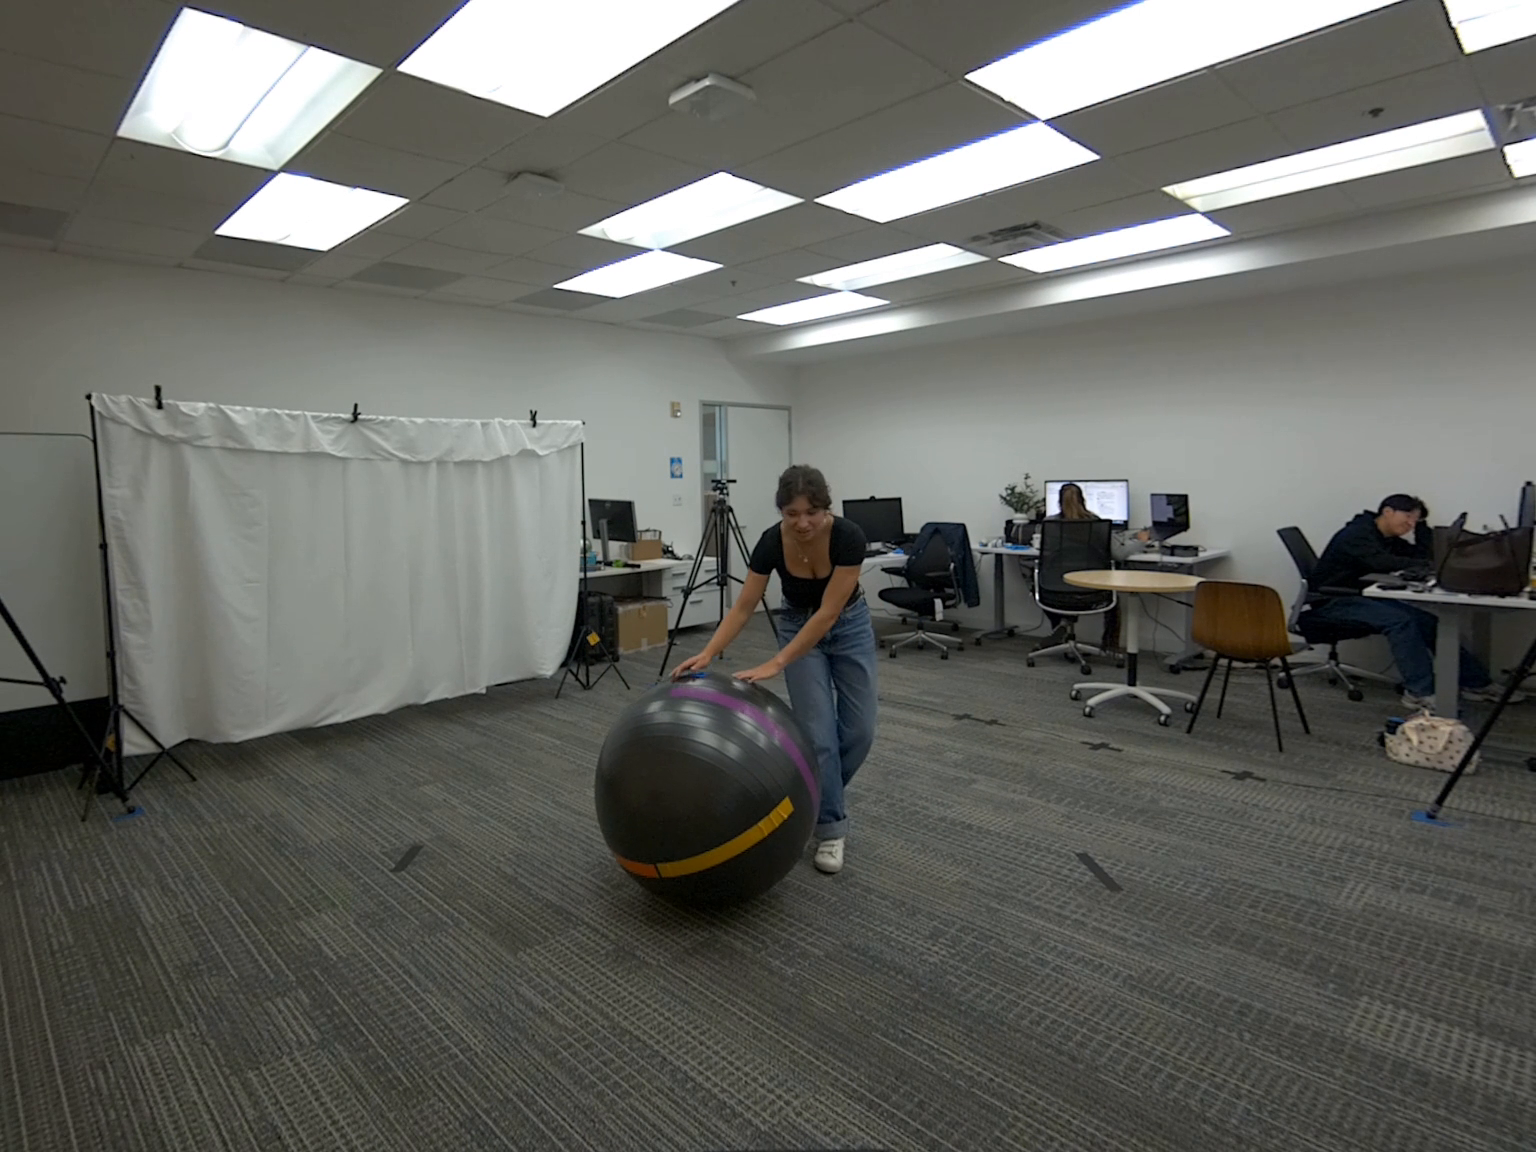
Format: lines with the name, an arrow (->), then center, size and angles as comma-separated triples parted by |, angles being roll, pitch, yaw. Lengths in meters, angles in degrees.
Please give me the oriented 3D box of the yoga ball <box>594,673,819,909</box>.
yoga ball -> -0.203, 0.710, 2.874 | 0.757, 0.755, 0.762 | -1, 5, -2
